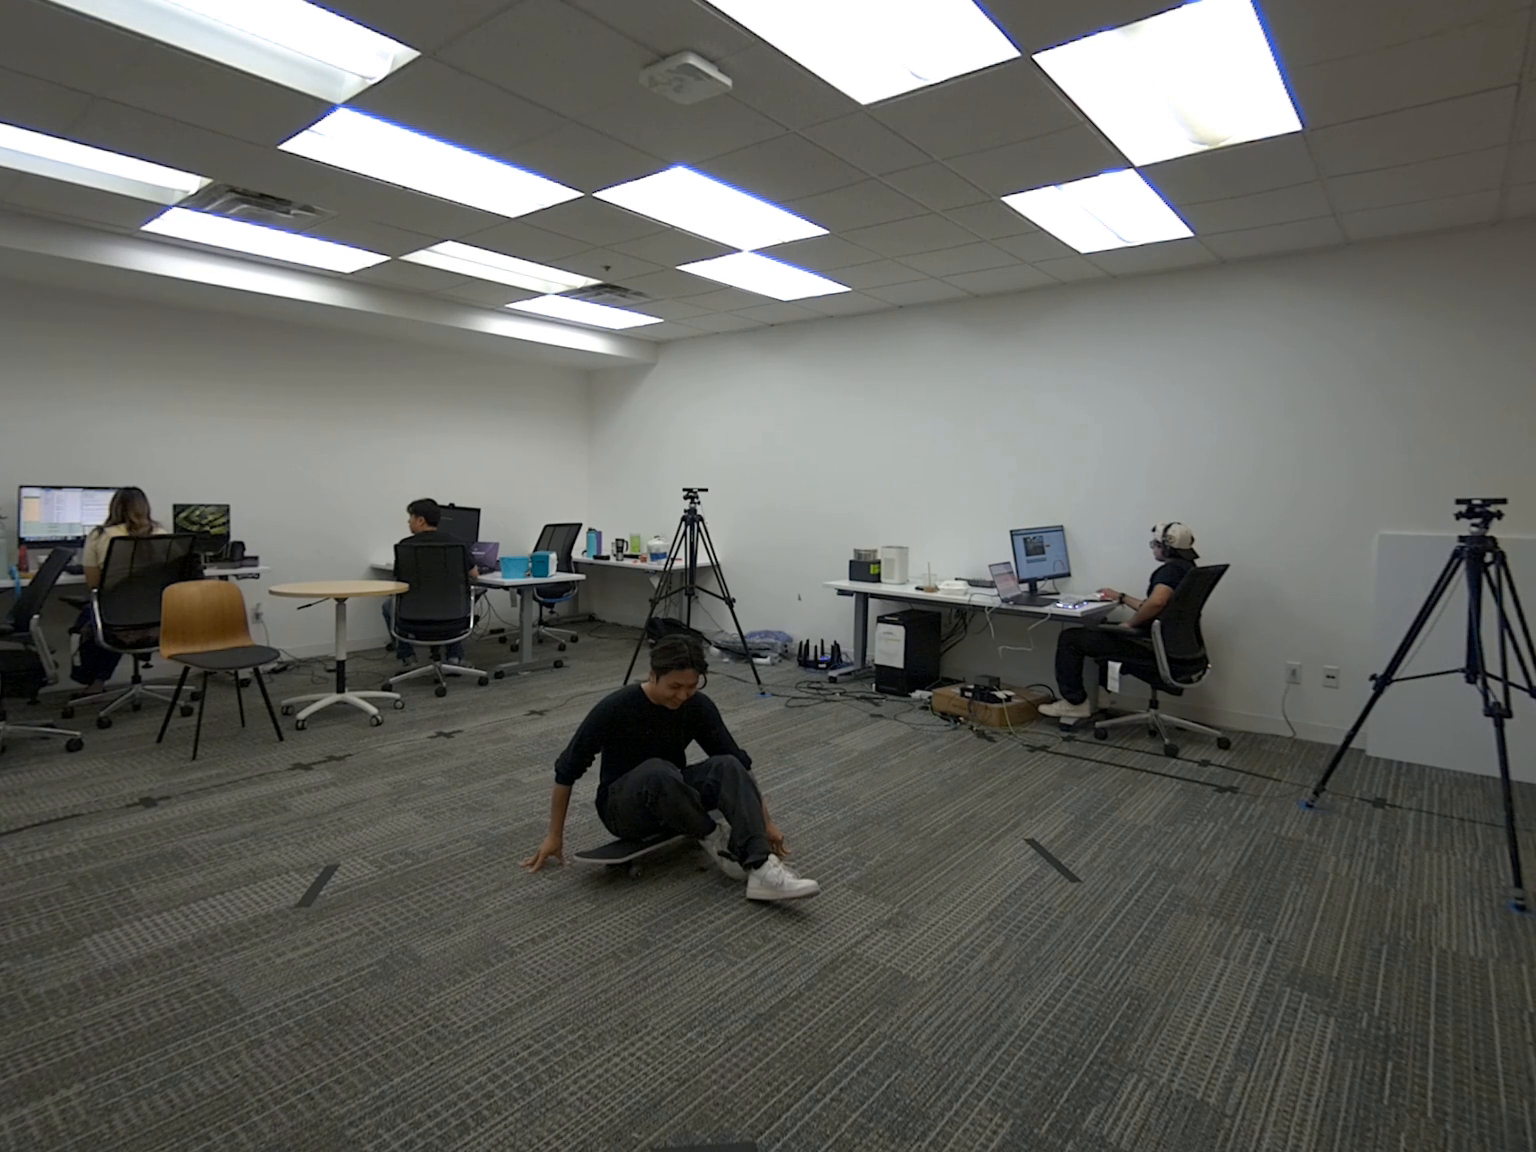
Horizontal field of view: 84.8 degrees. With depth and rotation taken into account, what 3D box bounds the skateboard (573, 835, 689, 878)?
[{"bbox_3d":[-0.402,1.013,3.233,0.763,0.110,0.199,-7,0,-45],"label":"skateboard"}]
